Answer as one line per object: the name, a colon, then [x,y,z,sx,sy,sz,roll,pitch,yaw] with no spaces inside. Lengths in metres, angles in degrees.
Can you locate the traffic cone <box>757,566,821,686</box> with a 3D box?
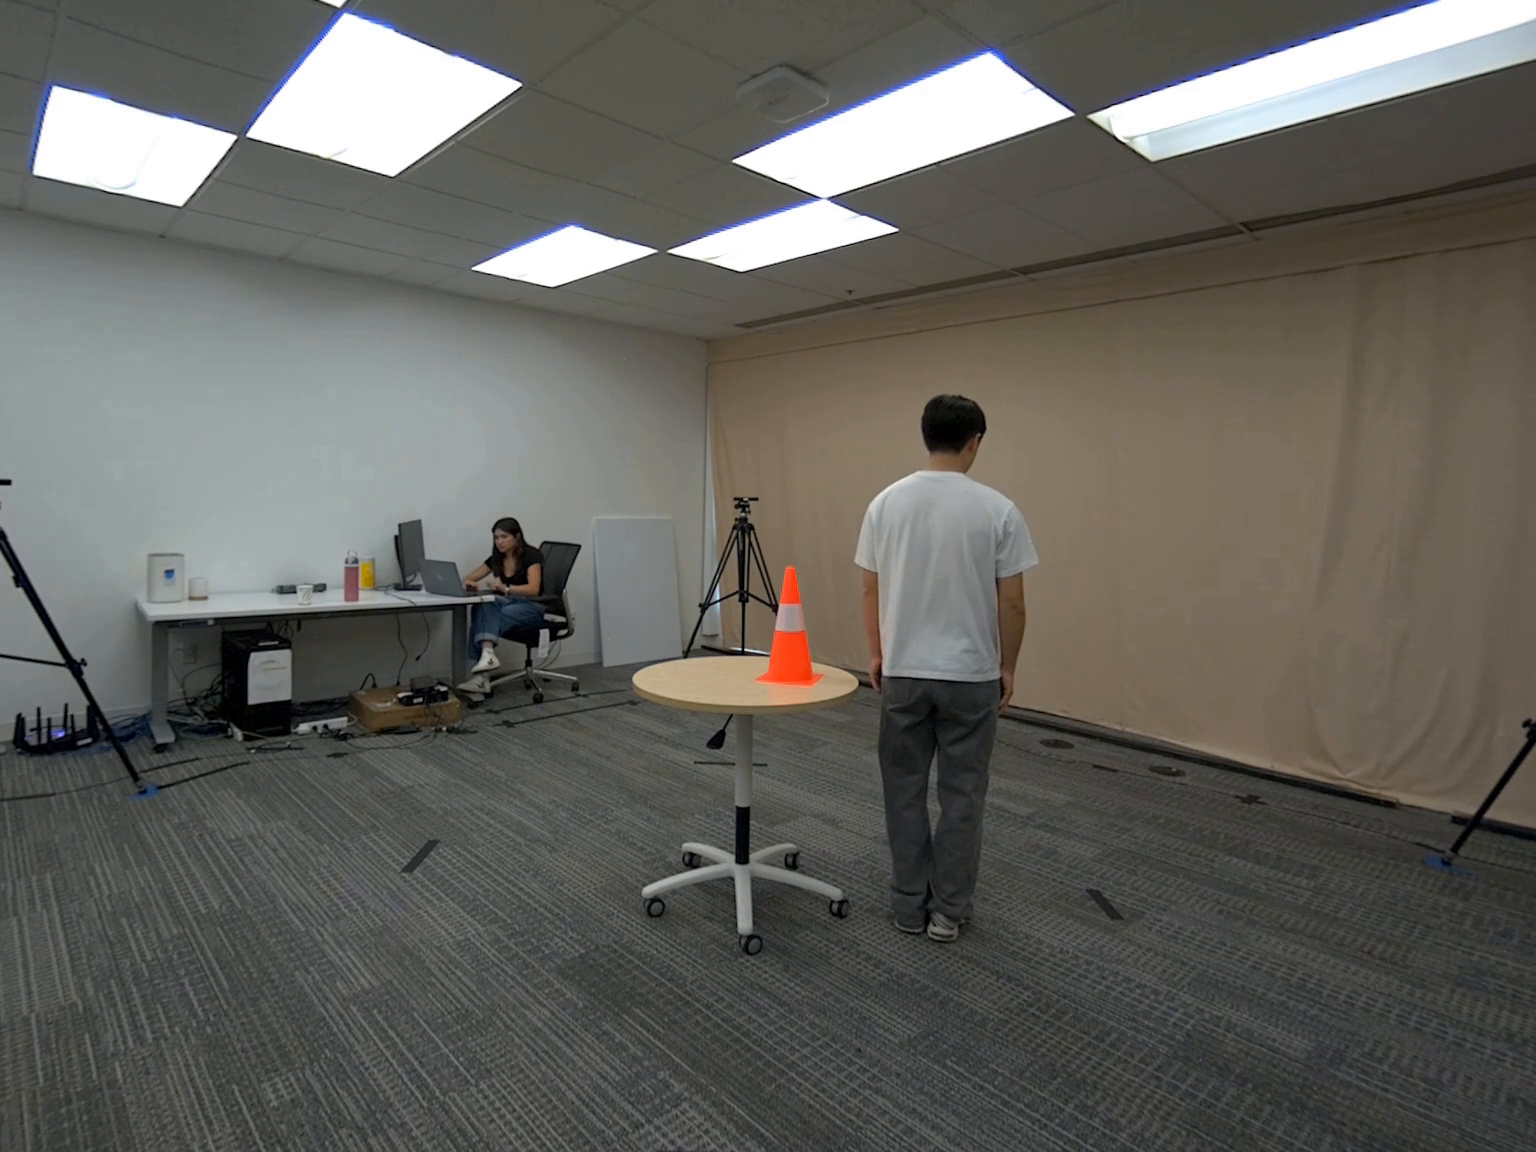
traffic cone: [0.082,0.164,2.876,0.206,0.383,0.202,3,1,19]
